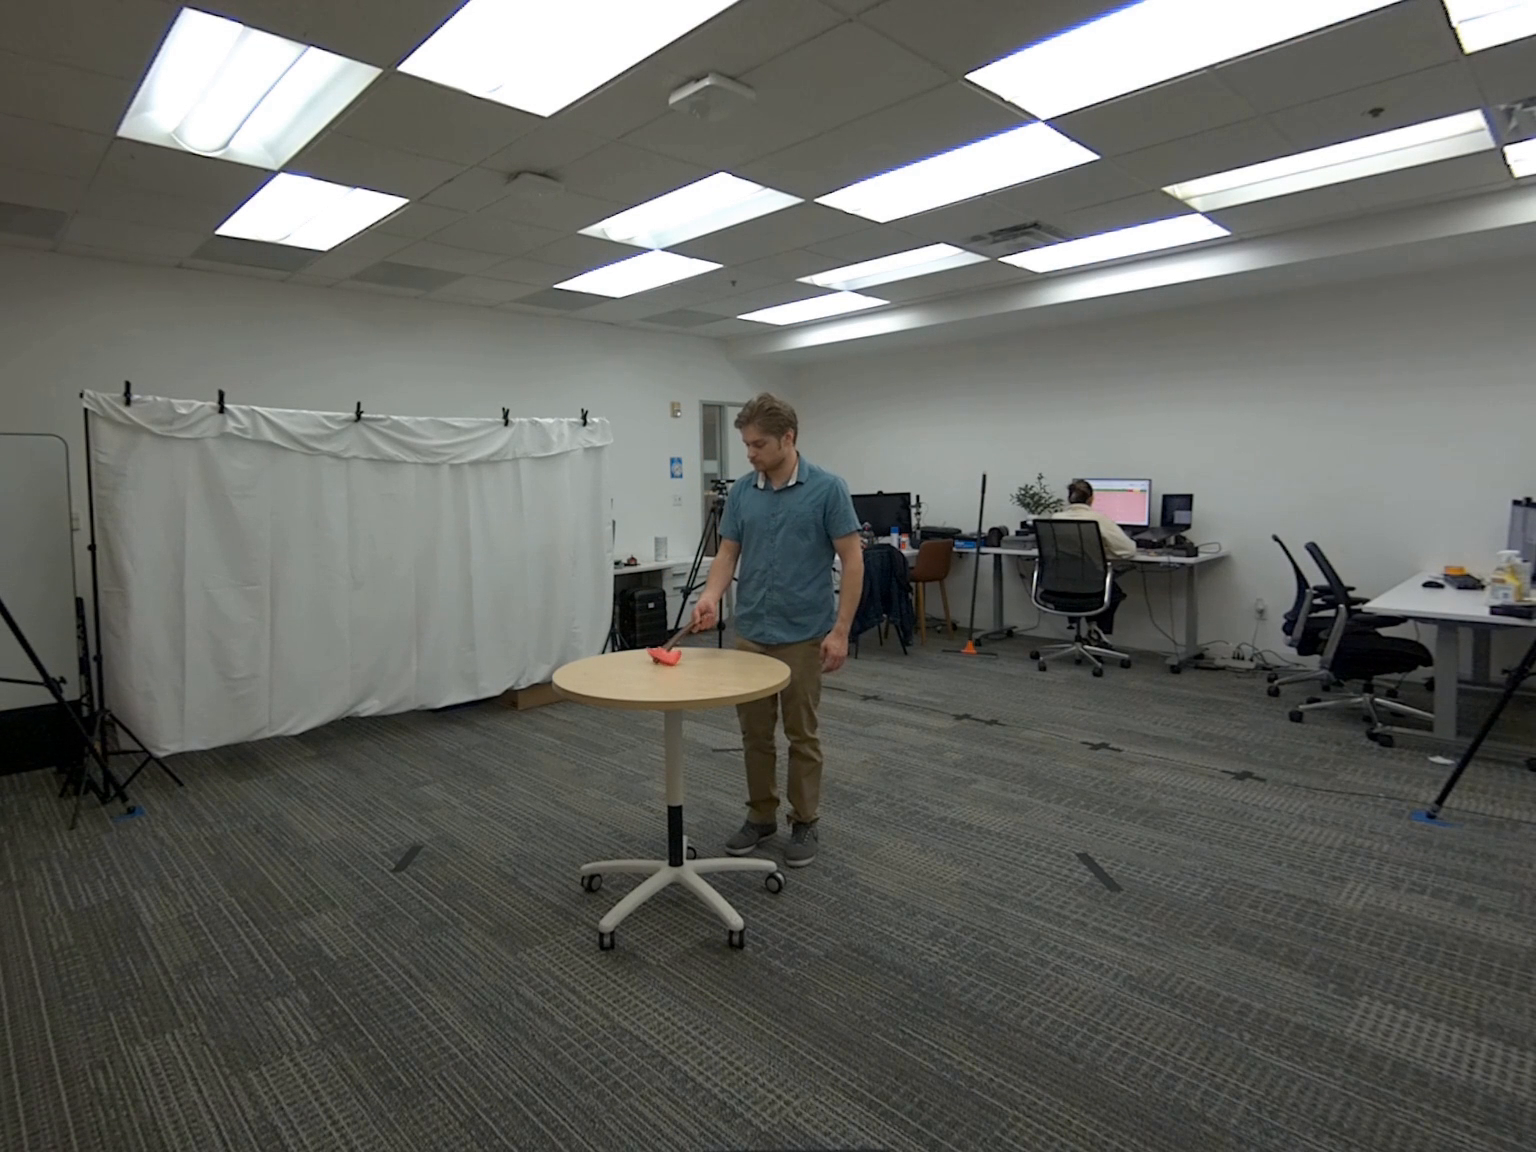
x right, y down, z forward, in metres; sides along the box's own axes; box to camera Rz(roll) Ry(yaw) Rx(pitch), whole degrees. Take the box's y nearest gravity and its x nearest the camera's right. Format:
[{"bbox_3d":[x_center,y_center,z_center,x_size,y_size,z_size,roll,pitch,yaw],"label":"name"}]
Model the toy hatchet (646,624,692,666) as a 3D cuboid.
[{"bbox_3d":[-0.275,0.217,2.898,0.268,0.028,0.136,-31,42,-16],"label":"toy hatchet"}]
